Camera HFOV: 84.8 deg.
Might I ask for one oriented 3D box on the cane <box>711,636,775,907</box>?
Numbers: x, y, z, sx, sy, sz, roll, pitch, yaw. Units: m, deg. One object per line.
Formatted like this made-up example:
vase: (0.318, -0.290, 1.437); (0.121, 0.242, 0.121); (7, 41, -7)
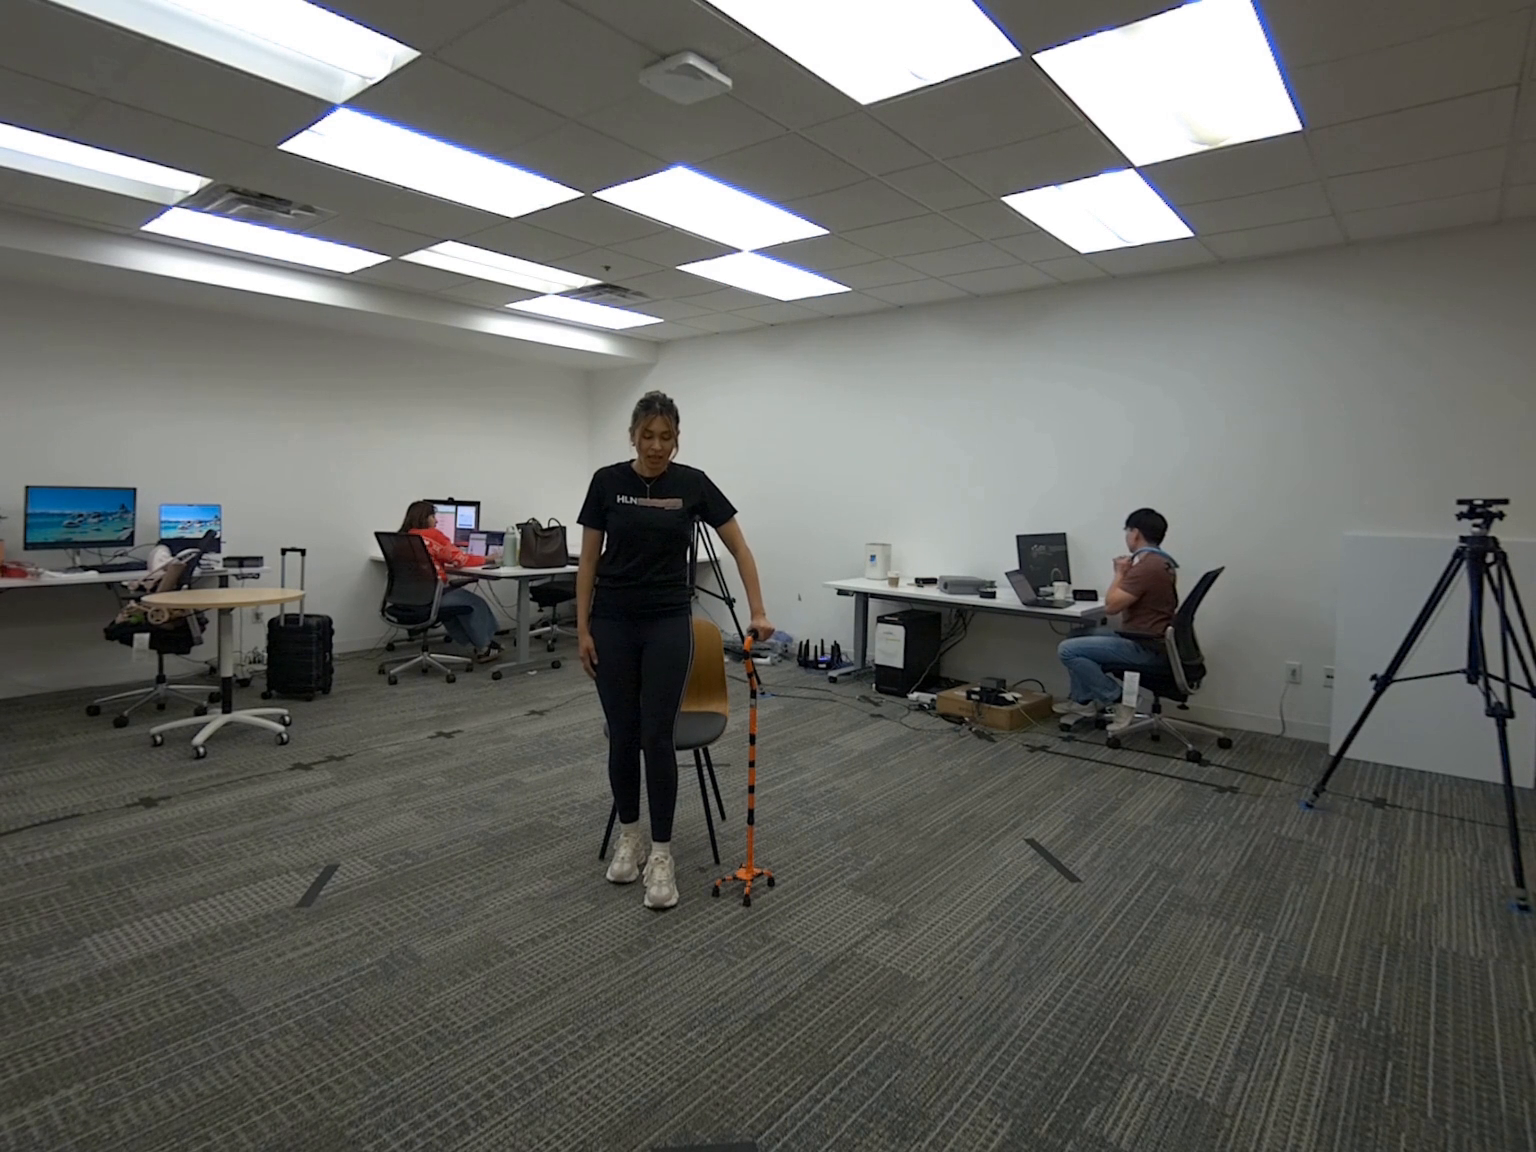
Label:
cane: (-0.074, 0.639, 2.933); (0.156, 0.906, 0.201); (3, 2, 29)
